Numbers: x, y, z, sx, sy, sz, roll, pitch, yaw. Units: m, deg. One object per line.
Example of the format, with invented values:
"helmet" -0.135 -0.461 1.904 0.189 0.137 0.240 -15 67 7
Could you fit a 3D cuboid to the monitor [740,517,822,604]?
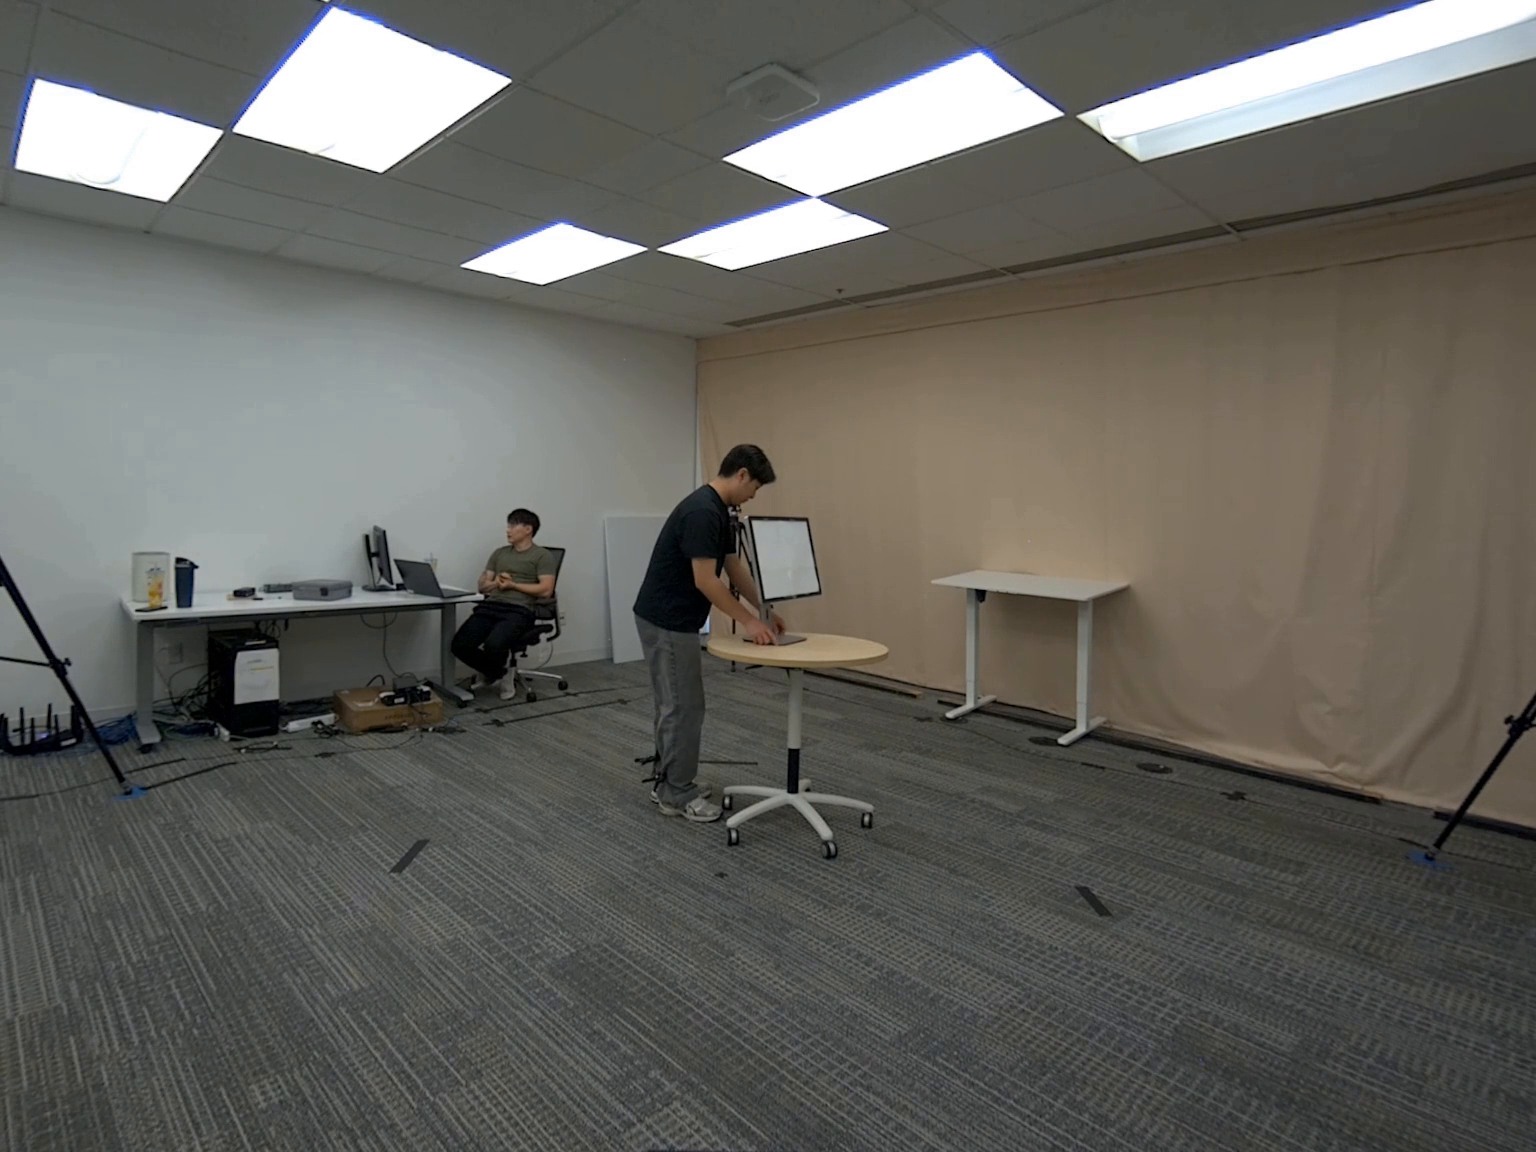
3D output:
"monitor" 0.035 0.020 3.689 0.227 0.564 0.550 6 5 32
